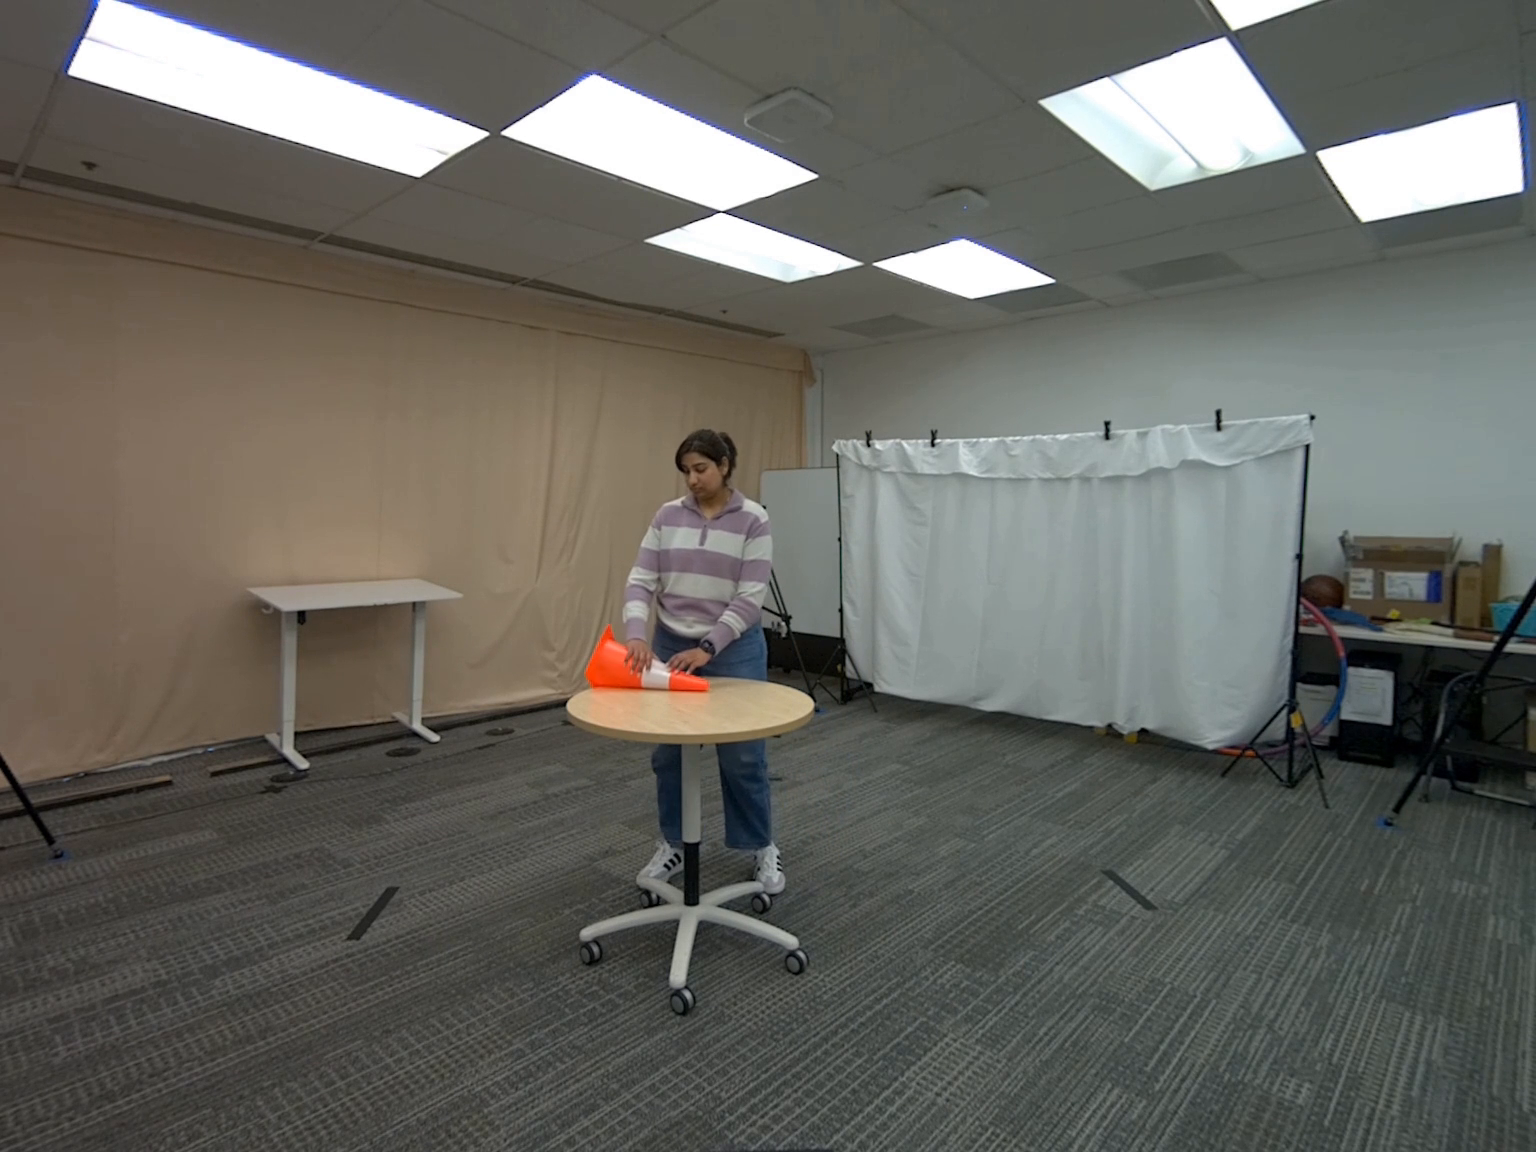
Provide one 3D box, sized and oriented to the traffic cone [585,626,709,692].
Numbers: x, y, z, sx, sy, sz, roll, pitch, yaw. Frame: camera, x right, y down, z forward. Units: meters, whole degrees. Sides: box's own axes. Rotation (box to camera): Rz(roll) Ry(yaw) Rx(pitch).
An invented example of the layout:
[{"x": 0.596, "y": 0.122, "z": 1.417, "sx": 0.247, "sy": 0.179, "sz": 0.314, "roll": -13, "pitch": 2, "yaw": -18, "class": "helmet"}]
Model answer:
[{"x": -0.378, "y": 0.337, "z": 2.810, "sx": 0.391, "sy": 0.201, "sz": 0.204, "roll": 13, "pitch": 49, "yaw": 15, "class": "traffic cone"}]
